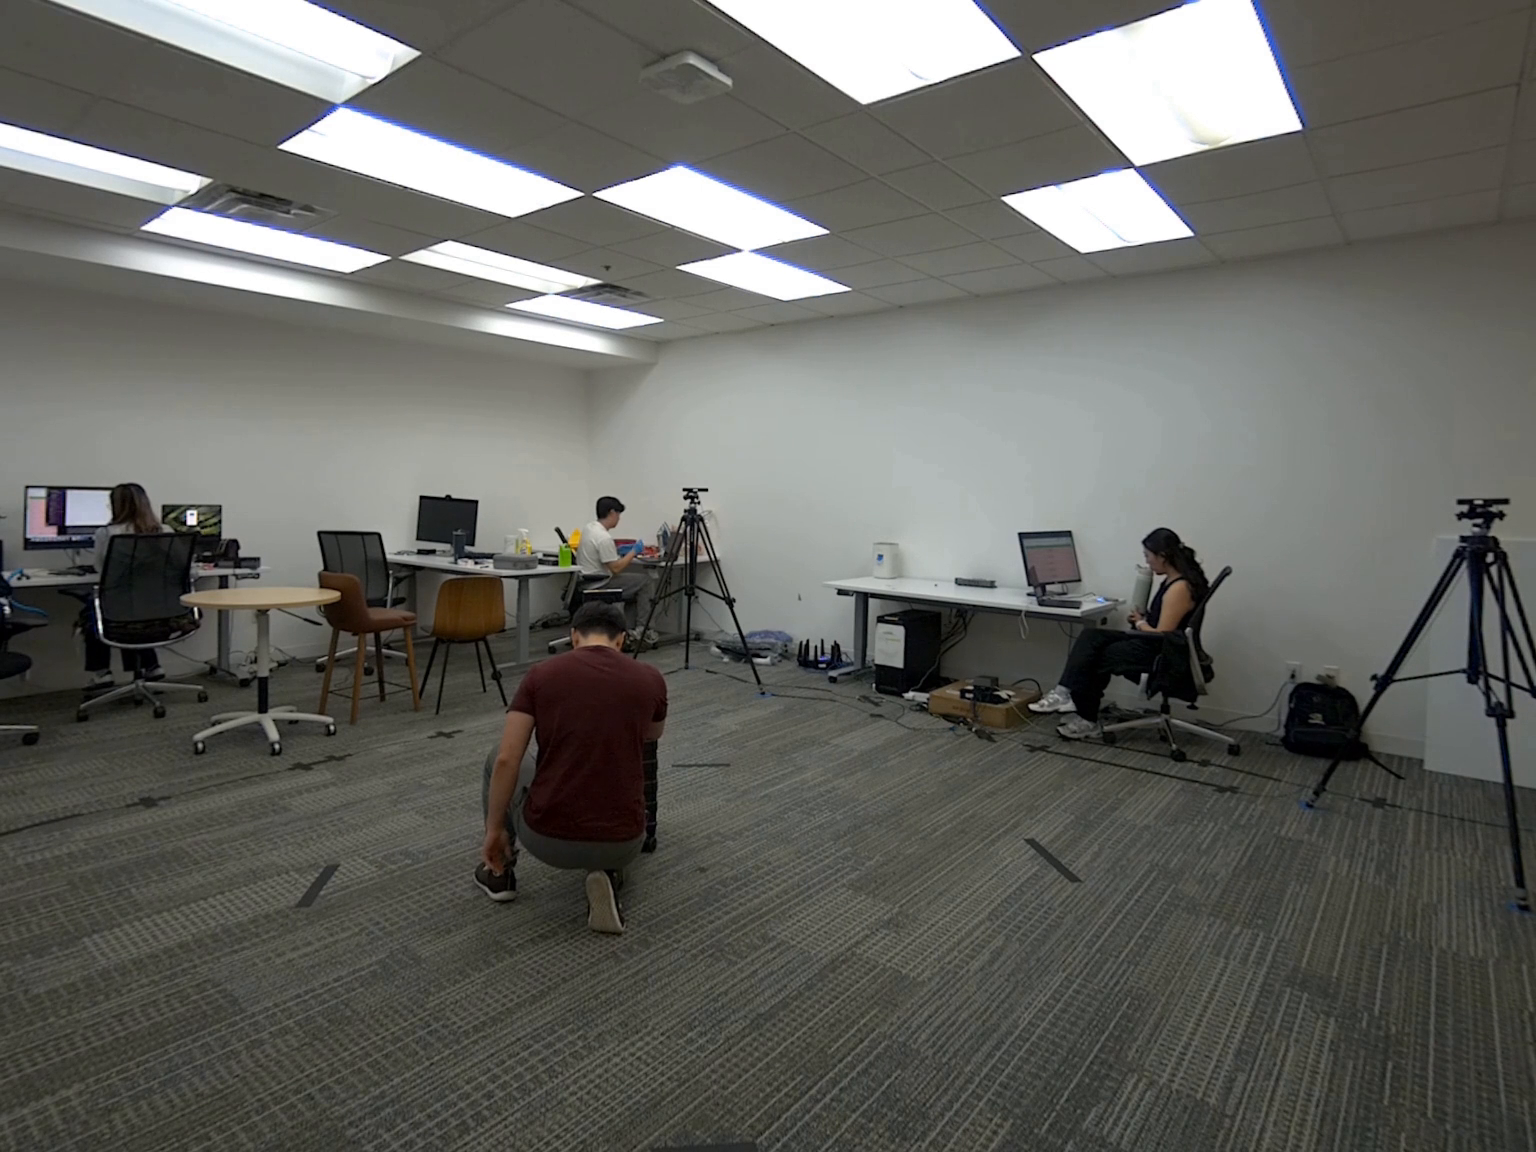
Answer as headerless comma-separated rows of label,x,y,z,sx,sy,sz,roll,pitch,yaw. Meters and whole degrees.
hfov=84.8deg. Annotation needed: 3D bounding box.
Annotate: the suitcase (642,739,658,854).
suitcase,-0.625,0.563,3.296,0.376,0.975,0.263,-1,4,-21
